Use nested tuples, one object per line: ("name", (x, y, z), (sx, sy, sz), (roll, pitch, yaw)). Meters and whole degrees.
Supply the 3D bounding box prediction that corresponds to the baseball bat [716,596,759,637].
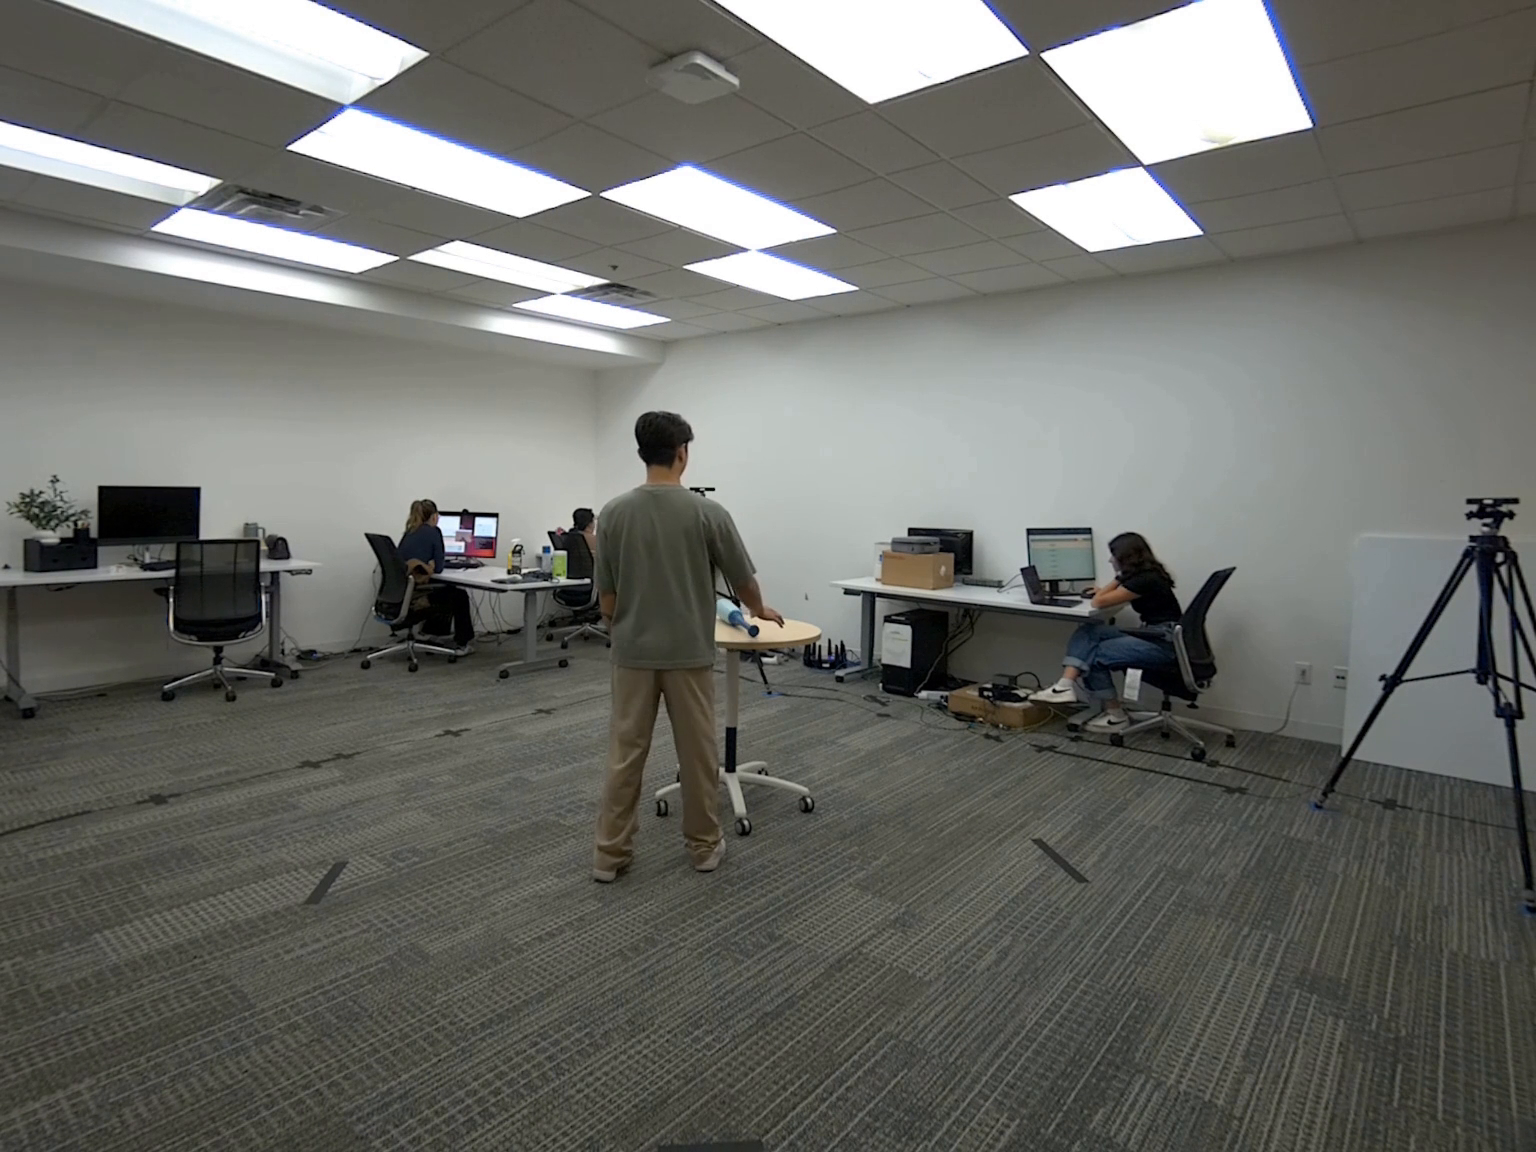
("baseball bat", (-0.143, 0.185, 3.743), (0.087, 0.088, 0.557), (-1, 9, -19))
